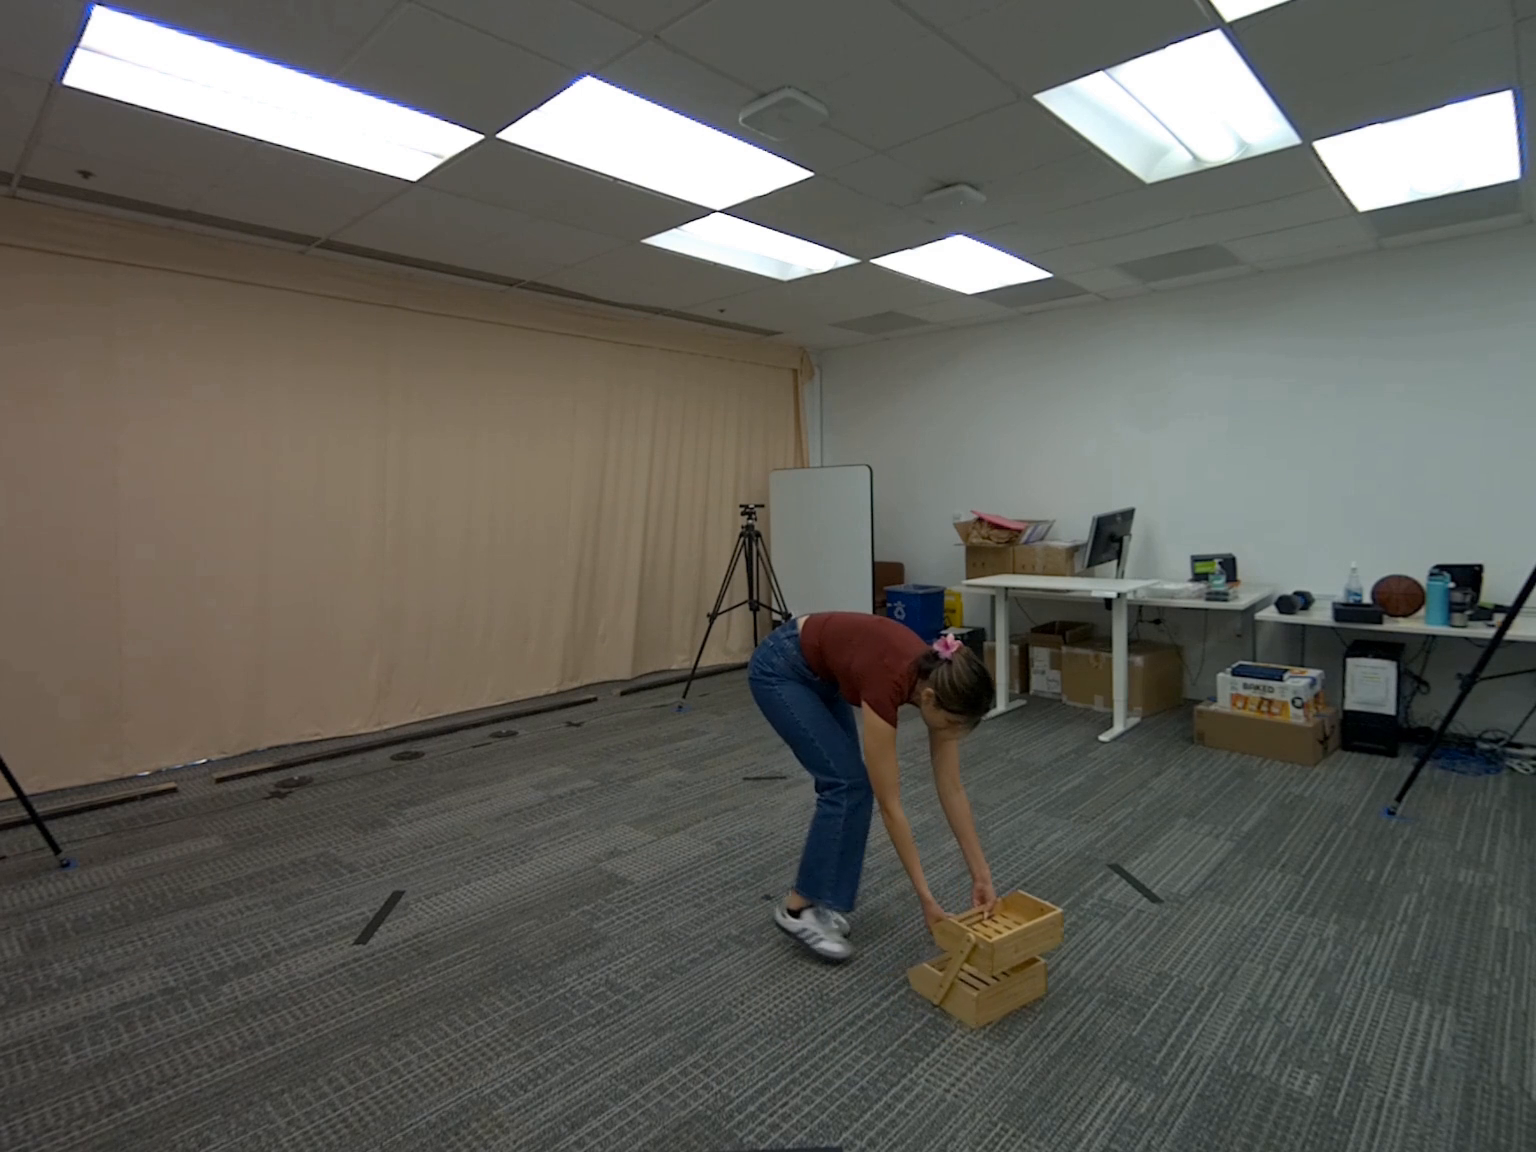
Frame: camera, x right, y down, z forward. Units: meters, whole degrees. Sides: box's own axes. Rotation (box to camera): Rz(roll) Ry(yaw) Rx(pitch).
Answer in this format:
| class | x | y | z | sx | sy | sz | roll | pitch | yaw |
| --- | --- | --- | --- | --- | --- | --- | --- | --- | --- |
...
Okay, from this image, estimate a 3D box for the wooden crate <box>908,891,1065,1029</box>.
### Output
| class | x | y | z | sx | sy | sz | roll | pitch | yaw |
| --- | --- | --- | --- | --- | --- | --- | --- | --- | --- |
| wooden crate | 0.613 | 1.045 | 2.371 | 0.315 | 0.273 | 0.311 | -4 | 5 | -35 |
